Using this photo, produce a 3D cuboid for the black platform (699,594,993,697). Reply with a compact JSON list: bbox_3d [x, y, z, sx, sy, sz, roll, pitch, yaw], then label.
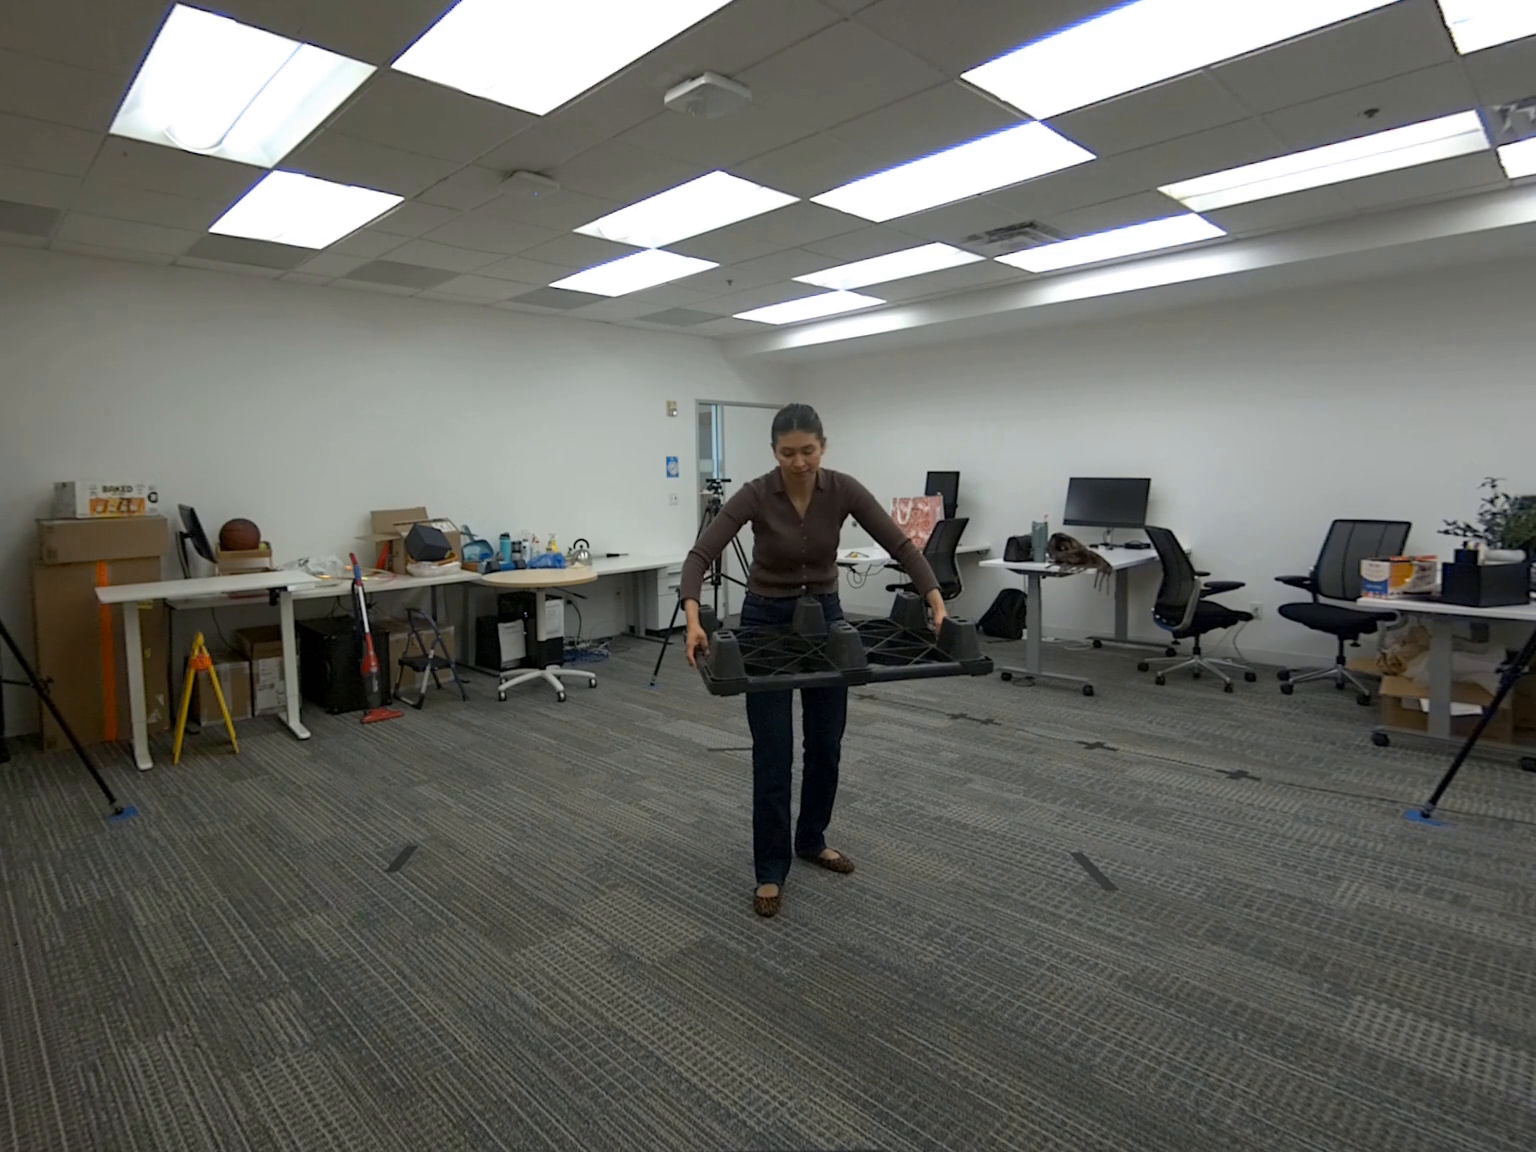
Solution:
[{"bbox_3d":[0.173,0.189,2.561,0.798,0.142,0.615,-4,9,-11],"label":"black platform"}]
